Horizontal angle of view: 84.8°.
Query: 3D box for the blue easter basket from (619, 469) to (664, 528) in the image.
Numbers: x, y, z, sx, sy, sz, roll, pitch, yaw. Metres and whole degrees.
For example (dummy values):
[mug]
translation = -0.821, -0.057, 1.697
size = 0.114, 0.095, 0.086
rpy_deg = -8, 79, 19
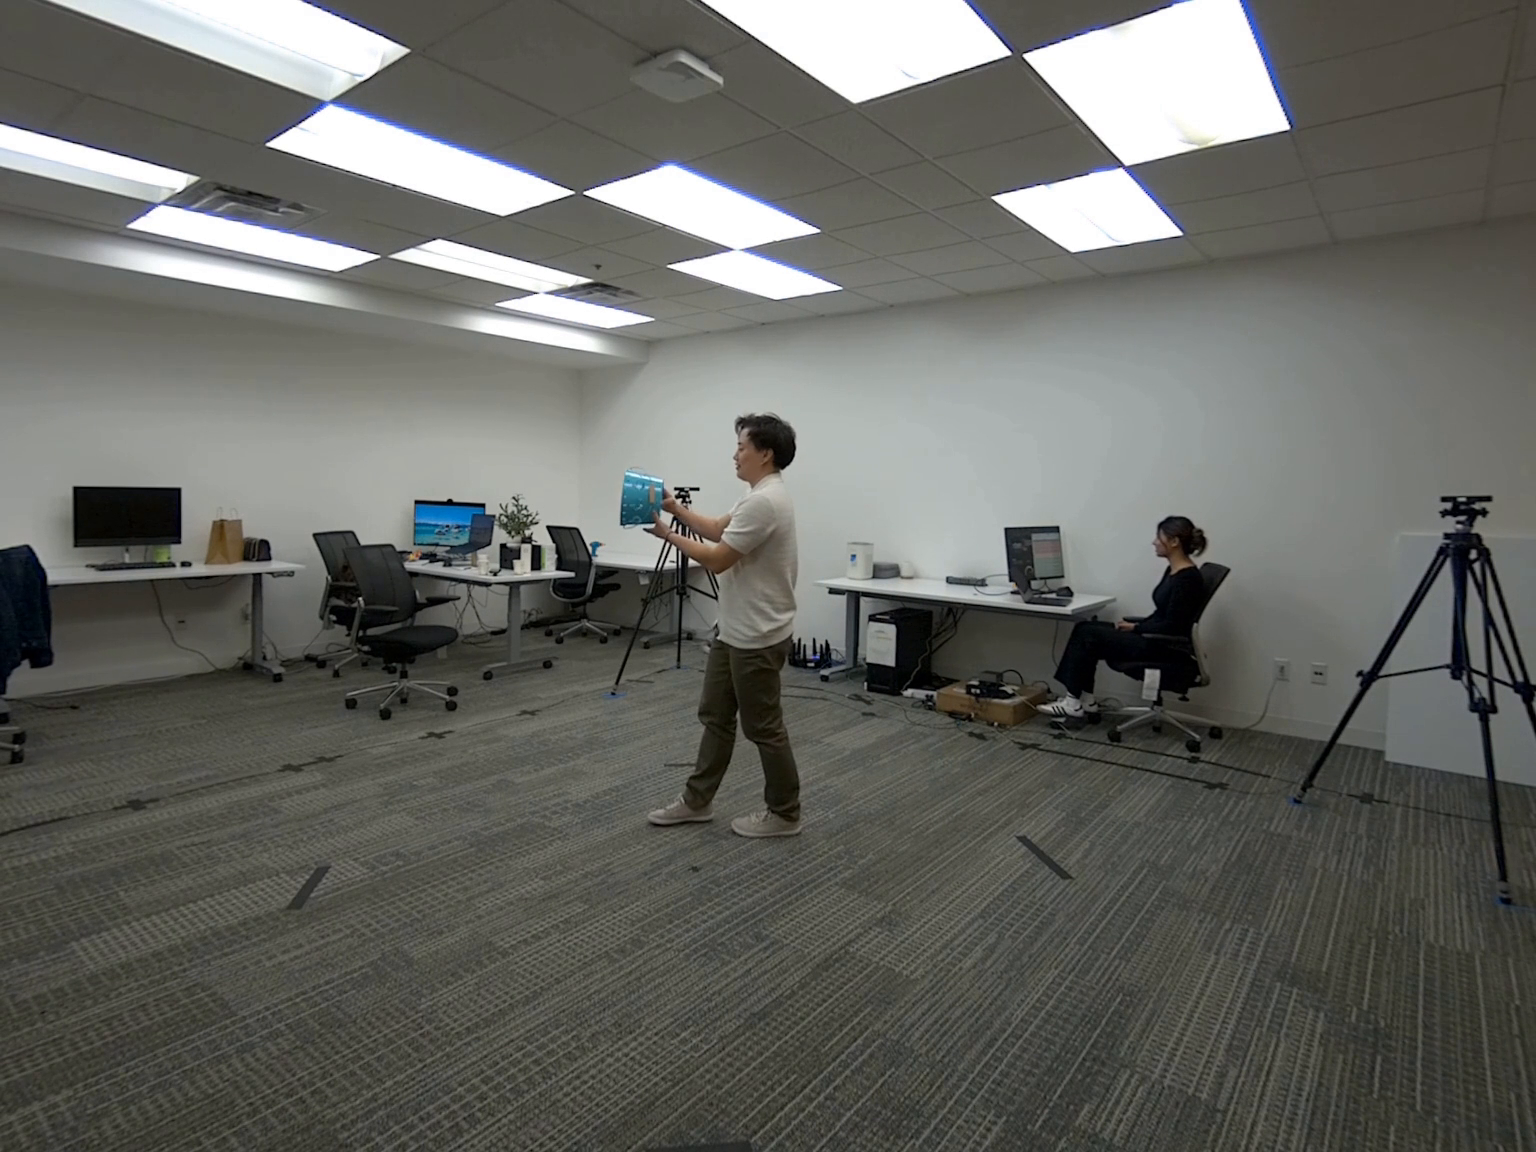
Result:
[blue easter basket]
translation = -0.519, -0.305, 3.405
size = 0.155, 0.243, 0.245
rpy_deg = 6, 4, -3
